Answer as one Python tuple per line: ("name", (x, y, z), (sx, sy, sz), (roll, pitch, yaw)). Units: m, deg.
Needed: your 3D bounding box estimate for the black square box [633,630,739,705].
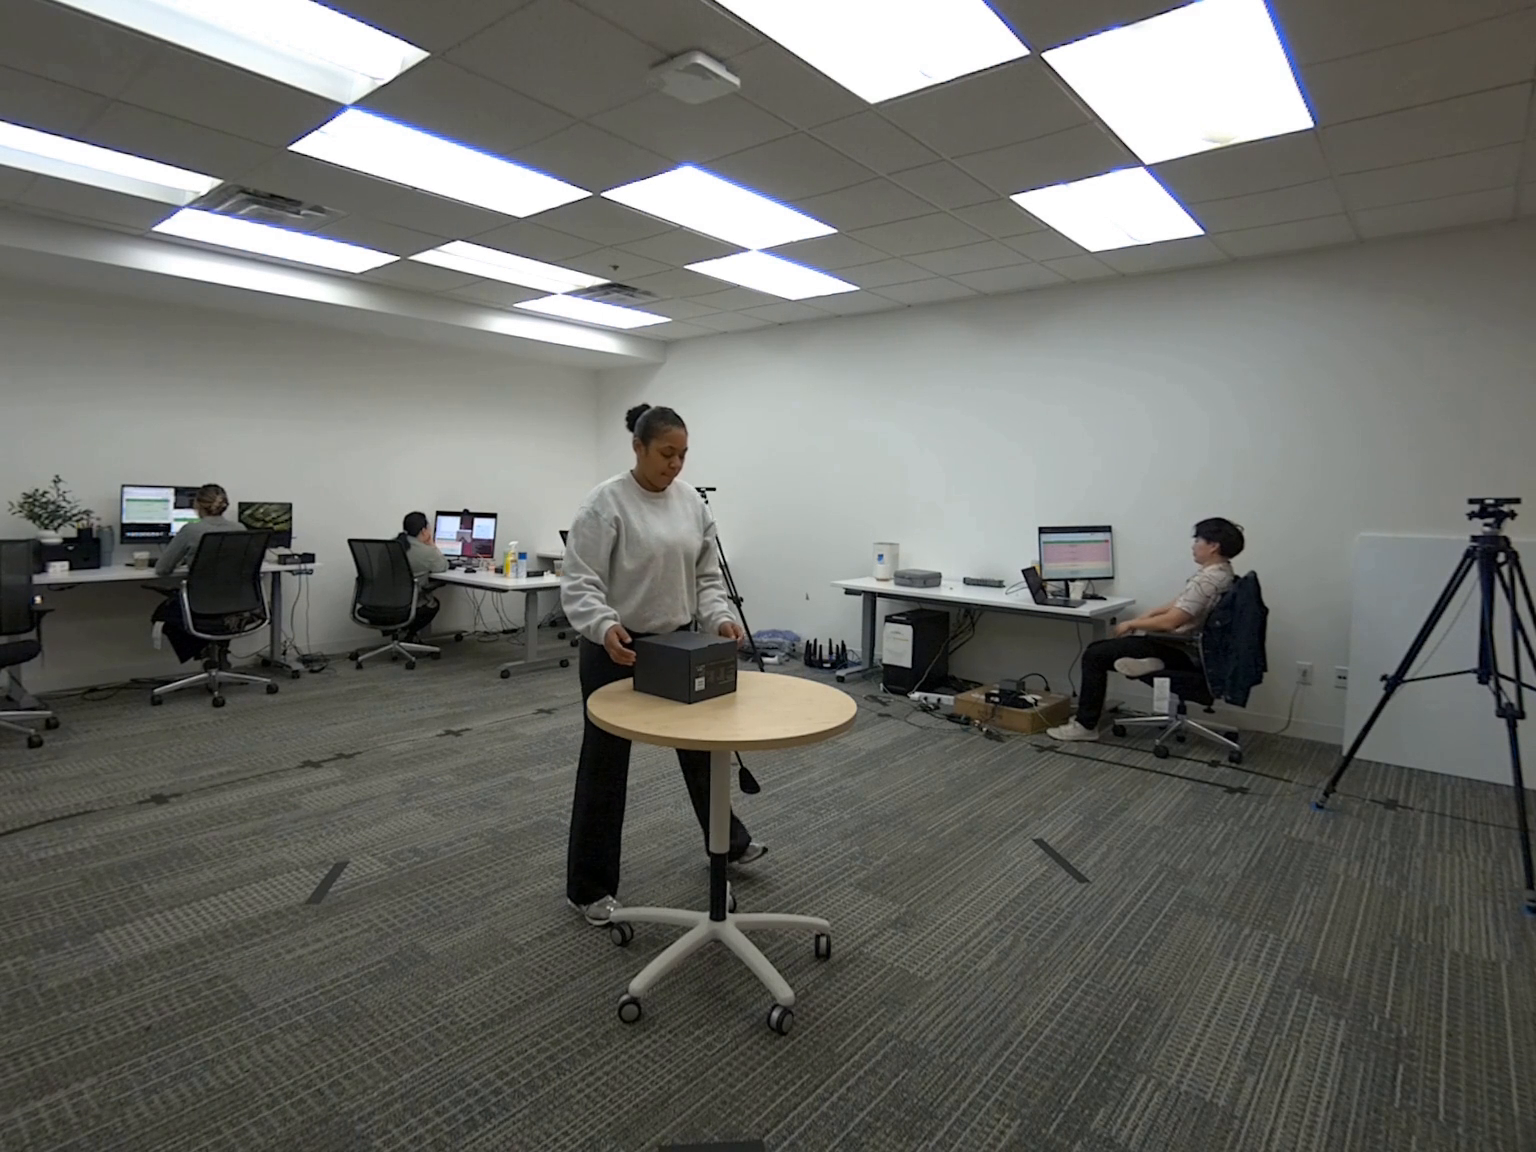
("black square box", (-0.246, 0.261, 2.524), (0.235, 0.155, 0.211), (5, 7, 39))
